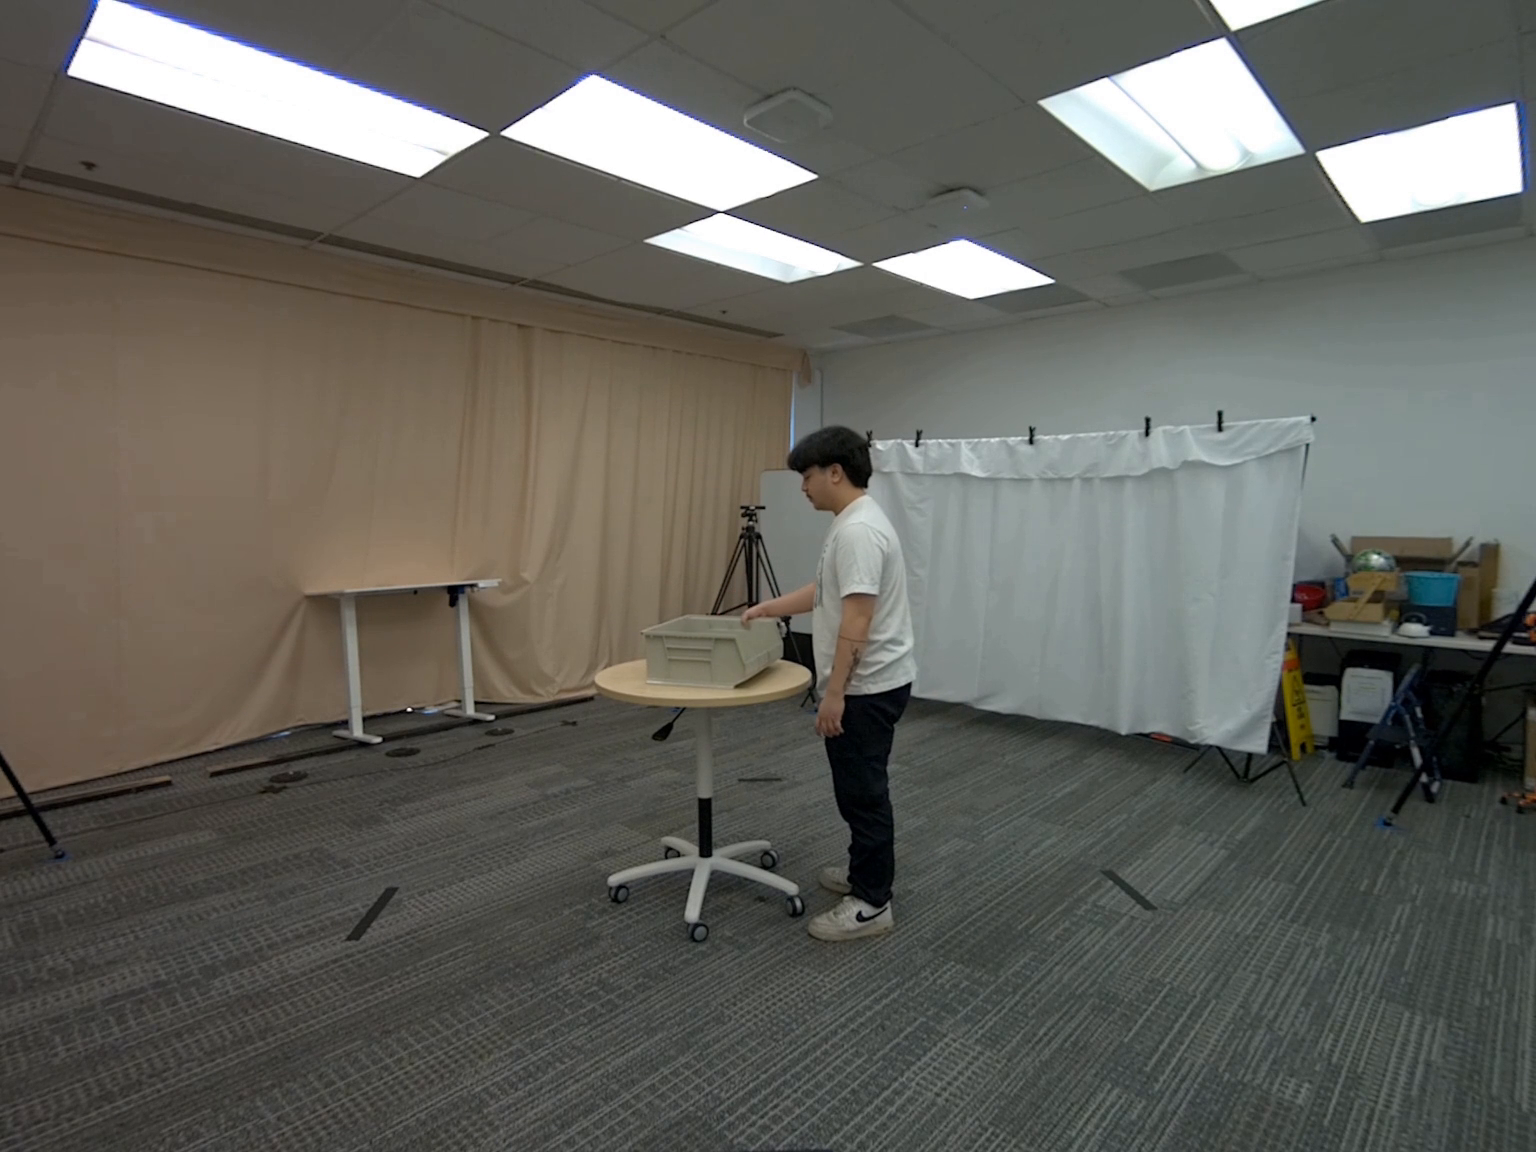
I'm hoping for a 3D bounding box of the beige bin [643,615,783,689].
[{"bbox_3d":[-0.190,0.262,2.971,0.385,0.188,0.415,0,5,19],"label":"beige bin"}]
